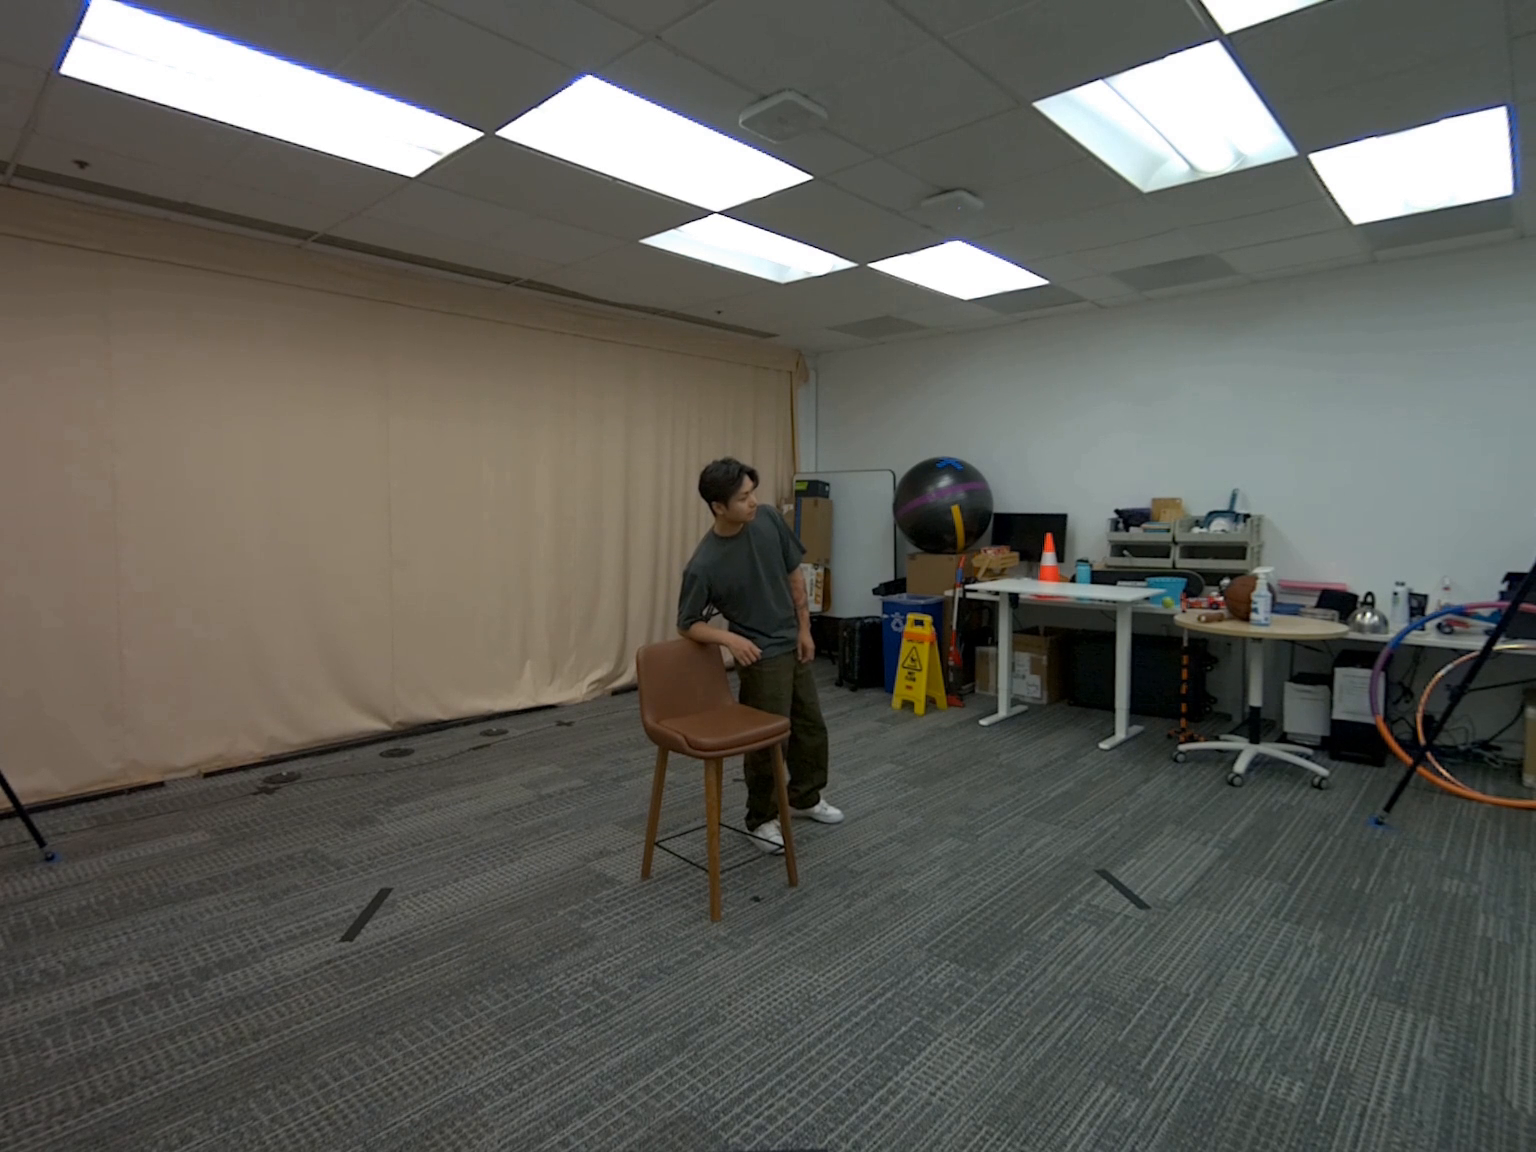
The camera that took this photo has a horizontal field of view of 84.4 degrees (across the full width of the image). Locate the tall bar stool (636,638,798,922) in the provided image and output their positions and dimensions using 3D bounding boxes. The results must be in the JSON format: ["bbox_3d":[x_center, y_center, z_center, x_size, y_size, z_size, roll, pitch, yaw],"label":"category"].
[{"bbox_3d":[-0.199,0.697,3.097,0.442,0.889,0.482,-3,2,-42],"label":"tall bar stool"}]
